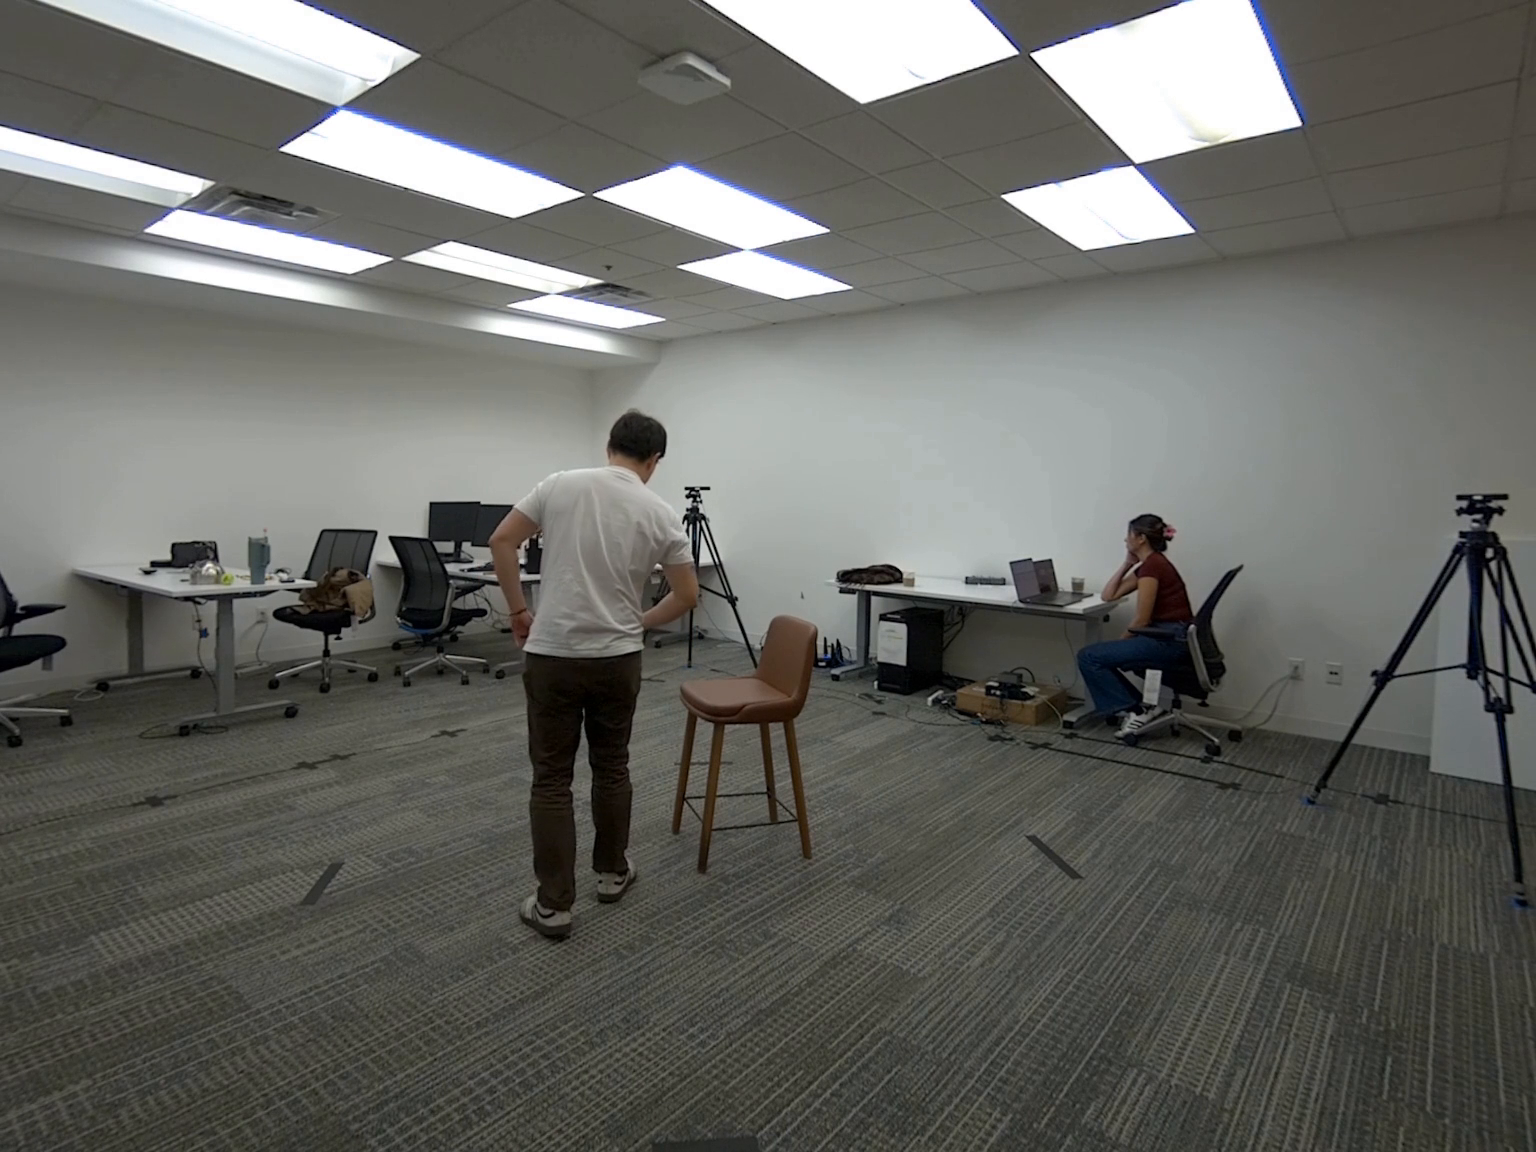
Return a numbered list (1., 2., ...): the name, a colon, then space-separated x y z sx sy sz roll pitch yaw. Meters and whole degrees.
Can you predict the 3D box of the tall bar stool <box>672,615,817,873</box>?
1. tall bar stool: -0.105 0.612 3.300 0.458 0.887 0.467 1 3 -20
